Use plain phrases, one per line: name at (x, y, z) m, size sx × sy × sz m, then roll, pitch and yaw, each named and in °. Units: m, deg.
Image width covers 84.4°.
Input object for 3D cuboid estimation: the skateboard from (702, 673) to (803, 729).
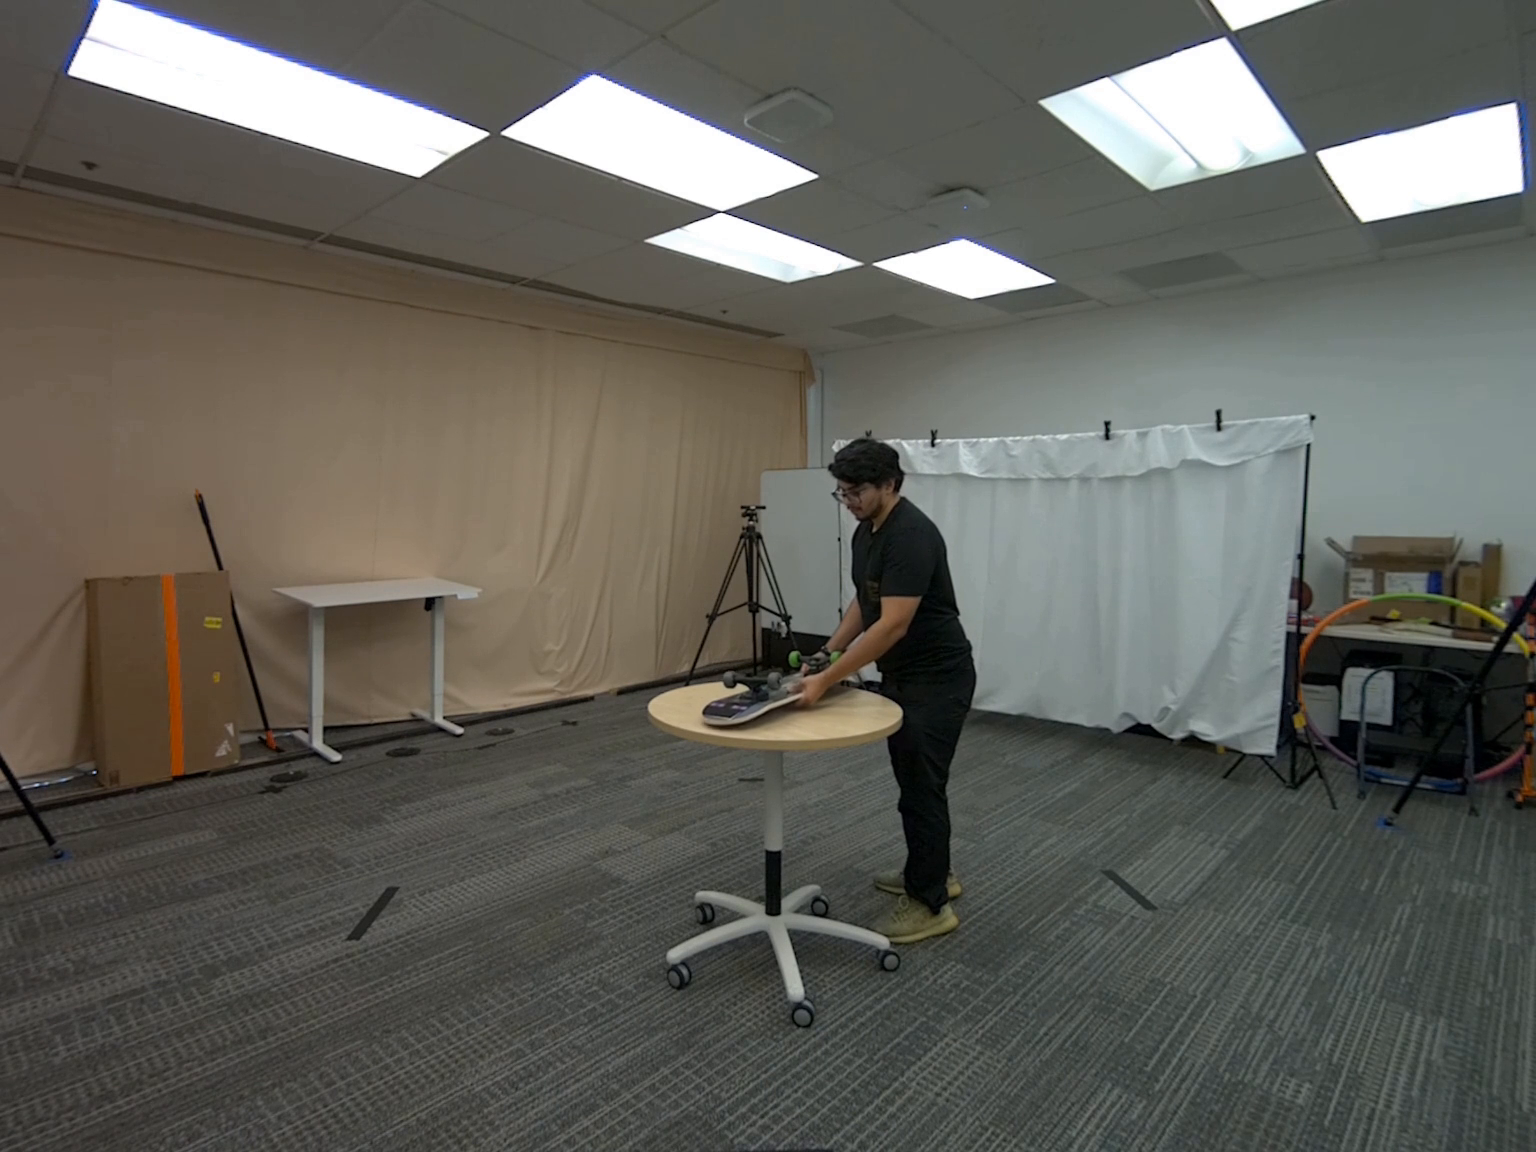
skateboard at (0.072, 0.337, 2.558) m, size 0.199 × 0.110 × 0.763 m, roll -6°, pitch 1°, yaw 36°
